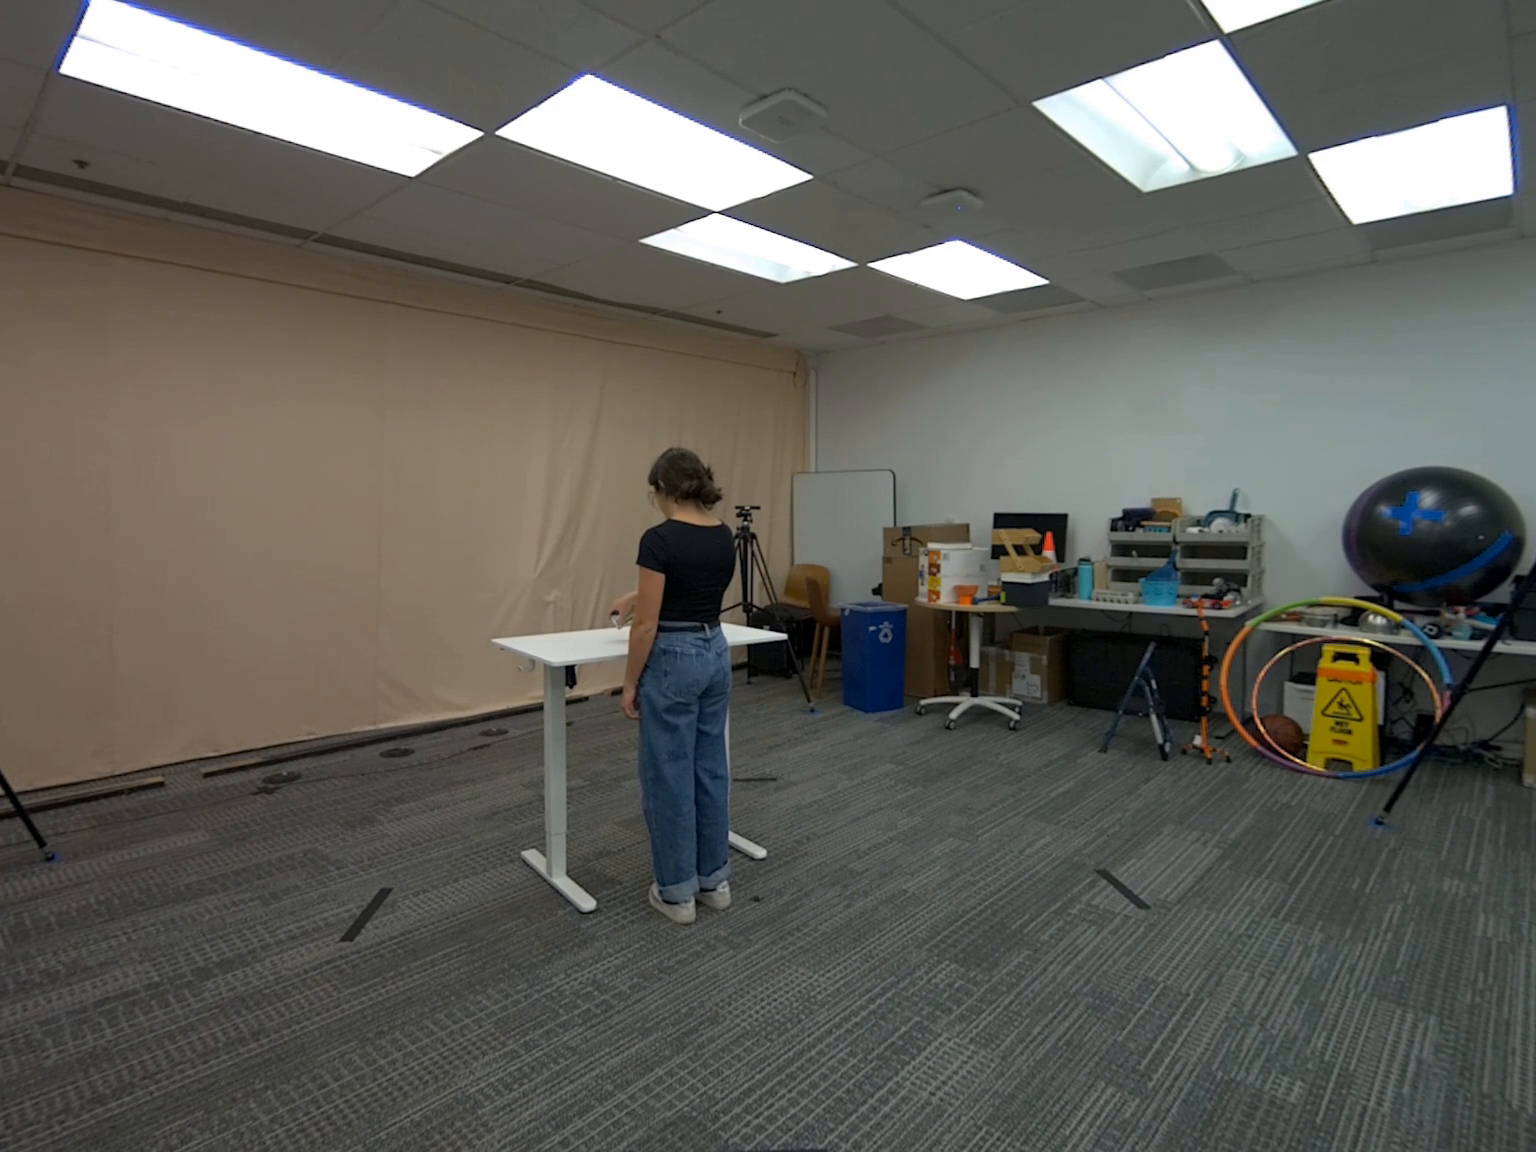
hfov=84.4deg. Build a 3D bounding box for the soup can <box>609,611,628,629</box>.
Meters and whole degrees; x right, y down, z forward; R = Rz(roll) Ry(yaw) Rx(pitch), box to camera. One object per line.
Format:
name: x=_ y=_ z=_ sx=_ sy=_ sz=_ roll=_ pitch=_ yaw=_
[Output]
soup can: x=-0.538 y=0.143 z=3.199 sx=0.068 sy=0.121 sz=0.066 roll=34 pitch=-13 yaw=7
